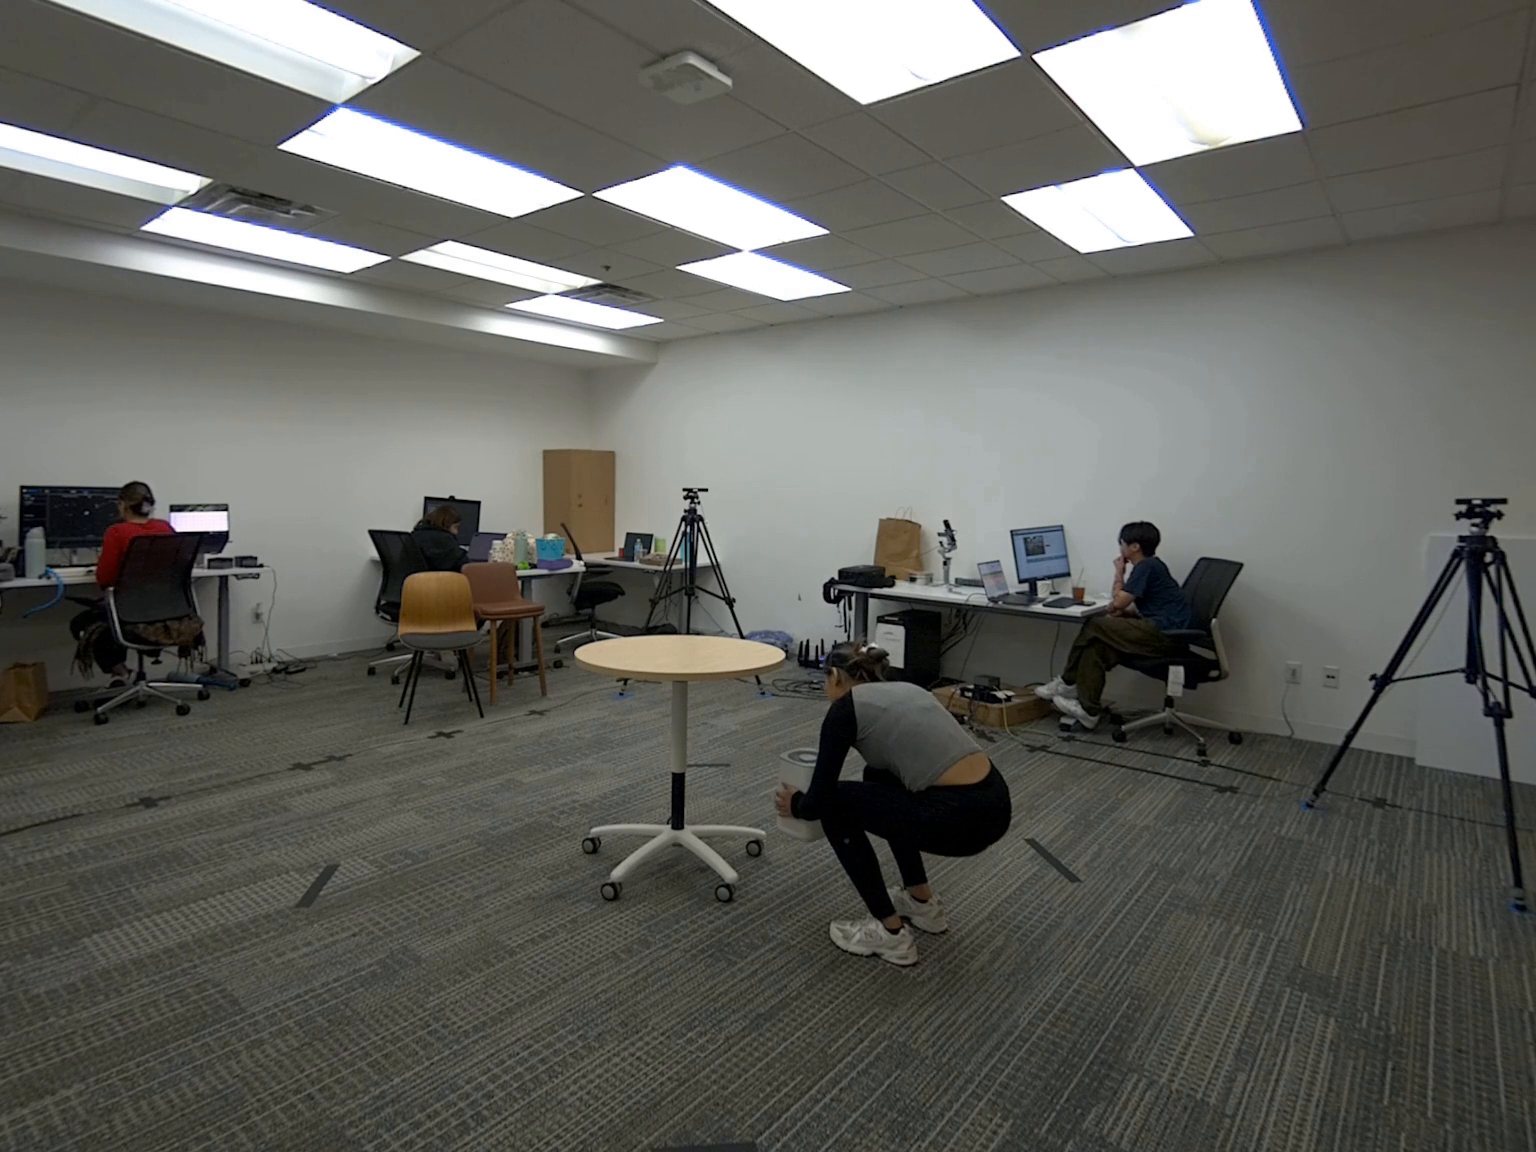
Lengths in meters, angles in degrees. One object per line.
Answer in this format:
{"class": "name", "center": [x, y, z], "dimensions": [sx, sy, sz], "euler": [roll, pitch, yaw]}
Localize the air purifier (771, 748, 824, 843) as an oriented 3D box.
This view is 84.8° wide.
{"class": "air purifier", "center": [0.129, 0.736, 2.892], "dimensions": [0.177, 0.264, 0.166], "euler": [5, 5, 41]}
